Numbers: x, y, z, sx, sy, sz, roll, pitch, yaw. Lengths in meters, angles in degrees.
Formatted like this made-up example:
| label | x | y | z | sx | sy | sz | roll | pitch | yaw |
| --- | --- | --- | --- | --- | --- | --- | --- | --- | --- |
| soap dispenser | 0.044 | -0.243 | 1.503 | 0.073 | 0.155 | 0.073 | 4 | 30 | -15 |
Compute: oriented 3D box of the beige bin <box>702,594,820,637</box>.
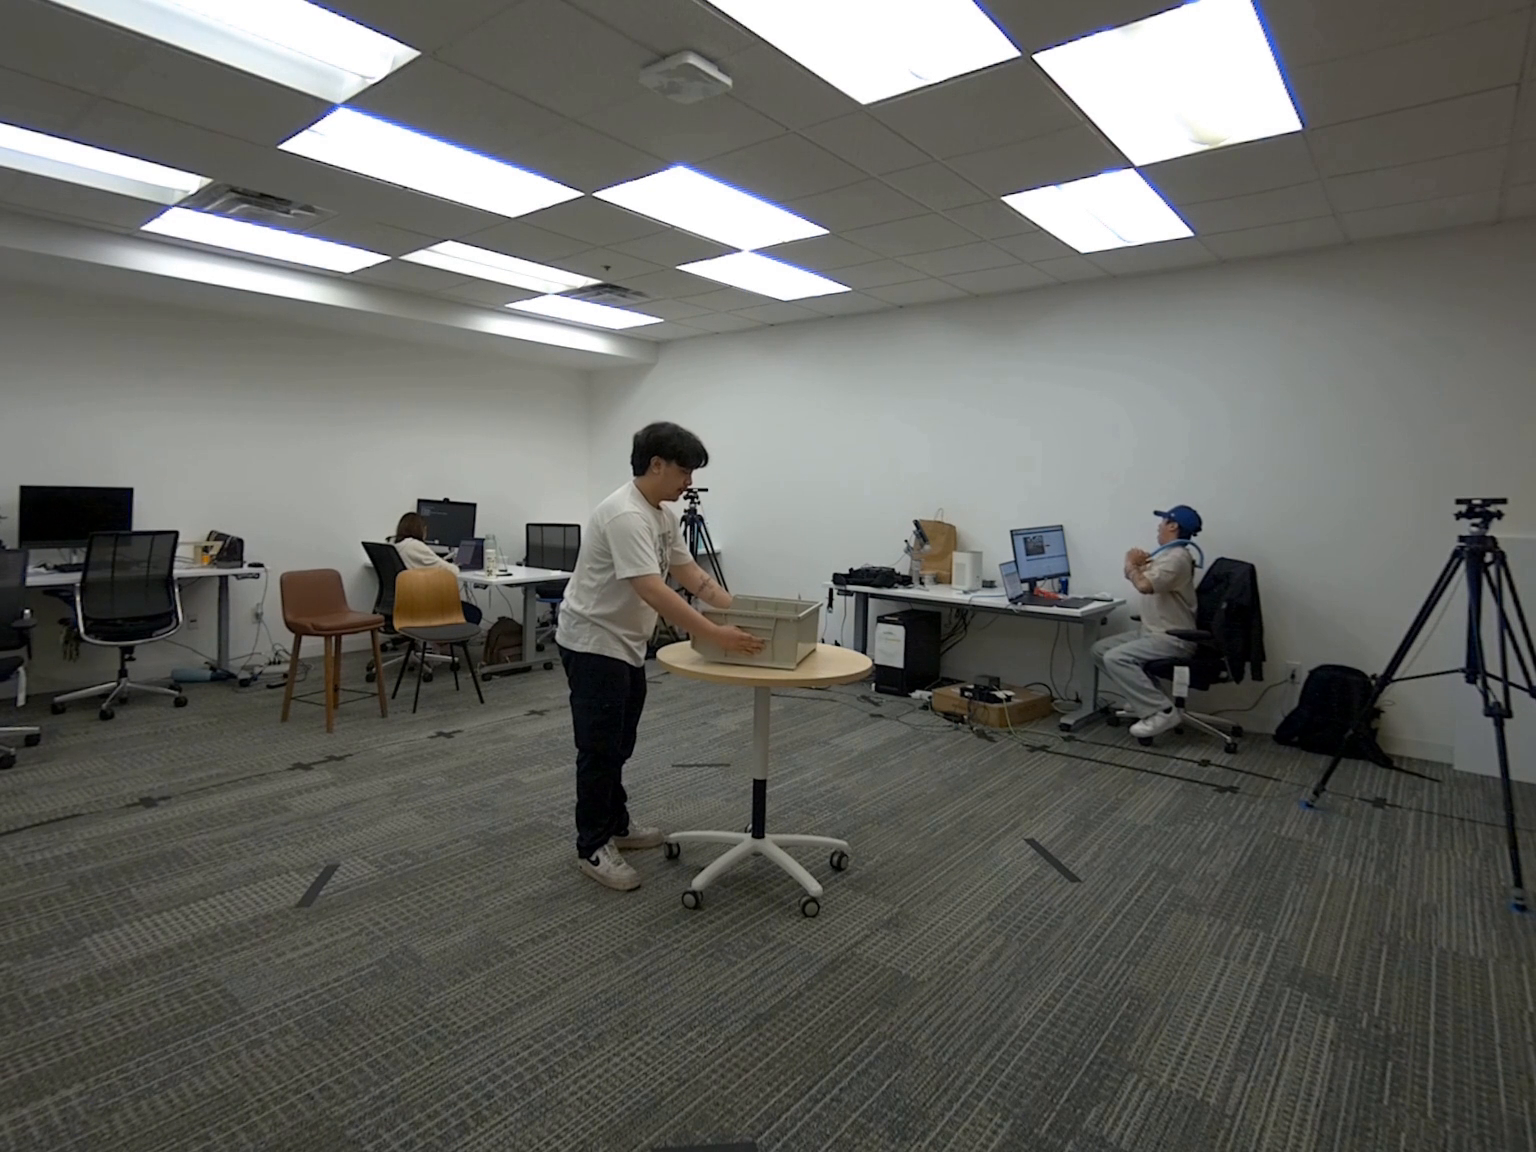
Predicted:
| label | x | y | z | sx | sy | sz | roll | pitch | yaw |
| --- | --- | --- | --- | --- | --- | --- | --- | --- | --- |
| beige bin | -0.034 | 0.191 | 3.030 | 0.384 | 0.188 | 0.416 | 4 | 4 | 15 |
